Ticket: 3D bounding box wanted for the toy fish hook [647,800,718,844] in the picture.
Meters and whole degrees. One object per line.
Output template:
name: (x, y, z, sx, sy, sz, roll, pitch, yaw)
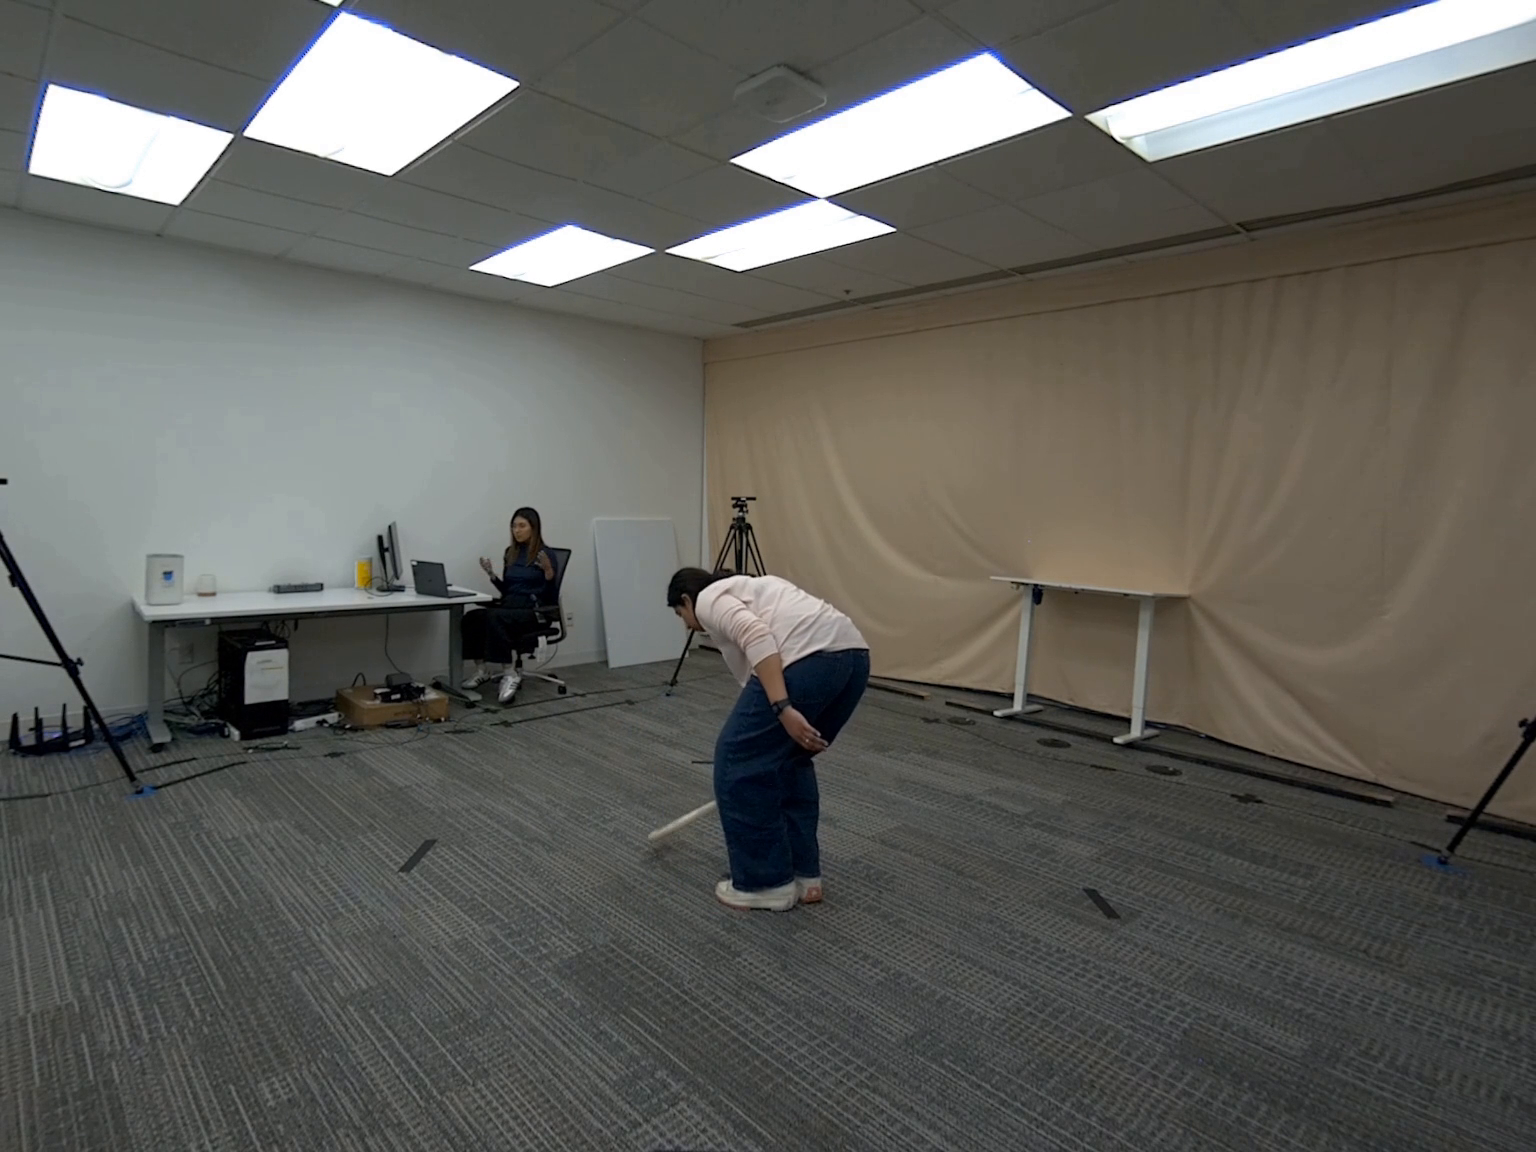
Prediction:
toy fish hook: (-0.252, 0.895, 3.279, 0.507, 0.048, 0.222, -27, -5, 5)
